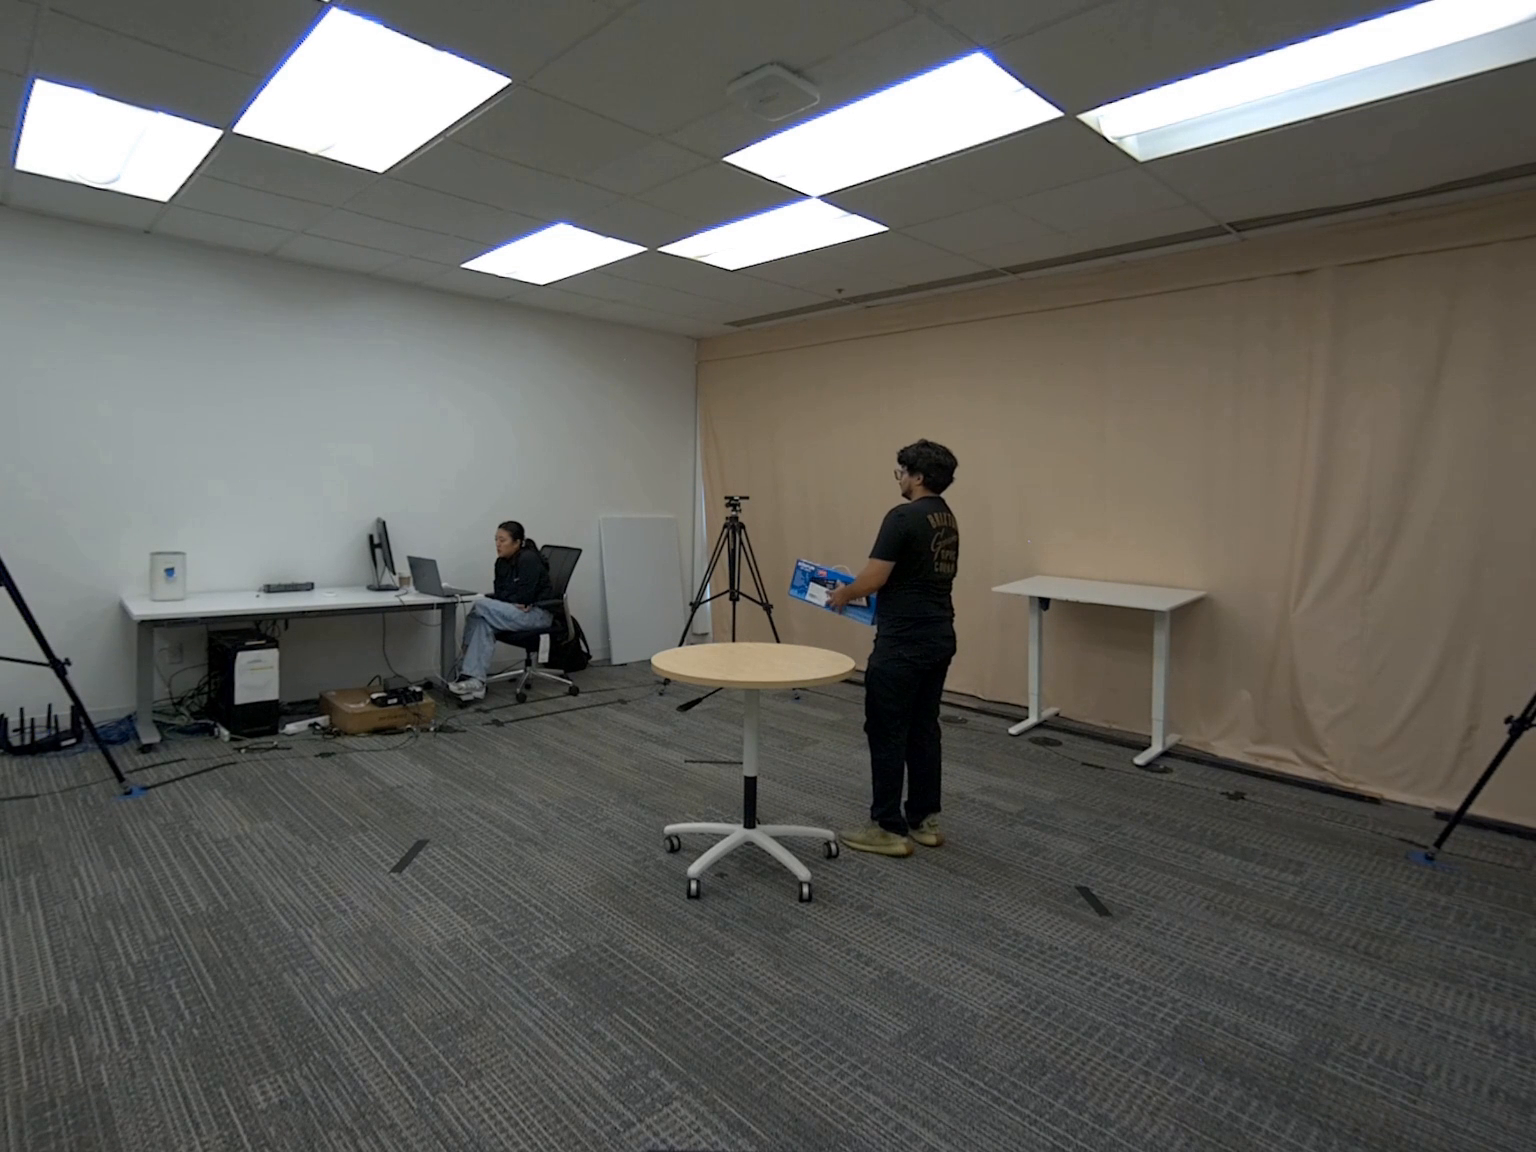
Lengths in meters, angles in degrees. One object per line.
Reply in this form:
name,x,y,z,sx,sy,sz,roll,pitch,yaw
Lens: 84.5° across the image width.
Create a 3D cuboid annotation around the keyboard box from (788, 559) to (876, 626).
keyboard box,0.297,0.071,3.745,0.449,0.175,0.058,20,10,33
